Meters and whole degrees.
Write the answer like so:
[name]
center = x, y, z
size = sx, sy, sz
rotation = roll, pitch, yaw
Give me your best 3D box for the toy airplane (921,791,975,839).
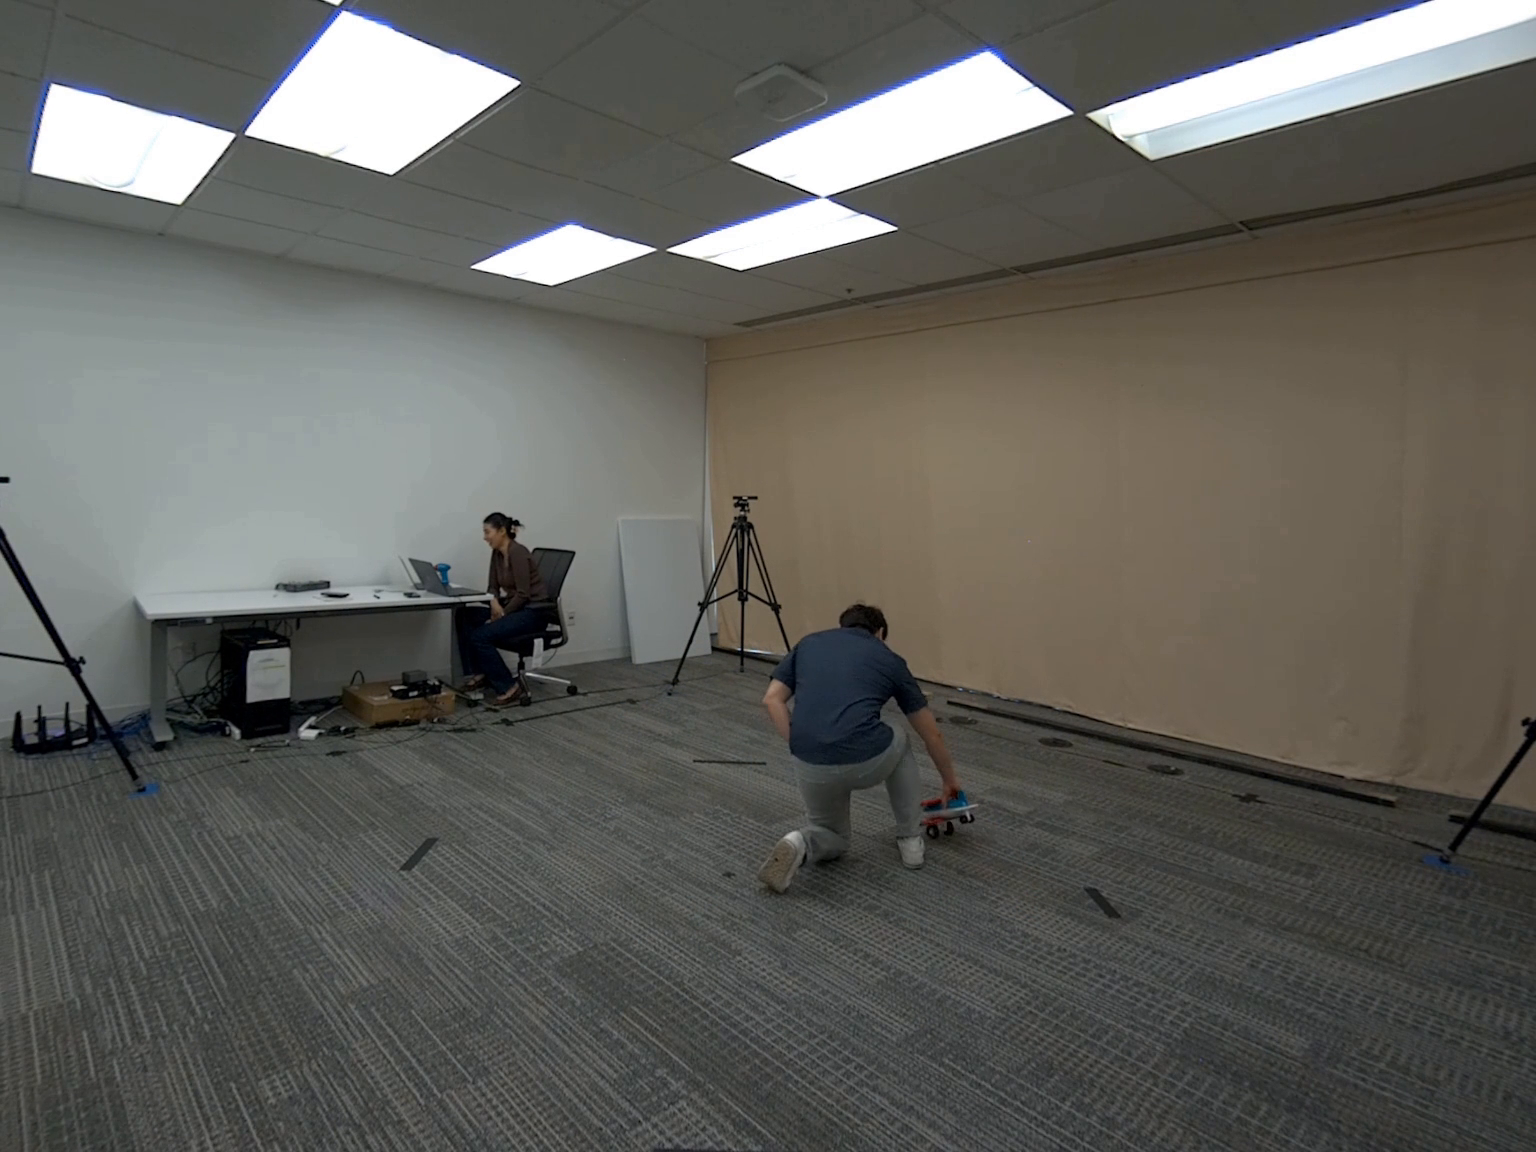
[toy airplane]
center = 0.742, 0.980, 3.500
size = 0.261, 0.160, 0.244
rotation = -31, -29, 24
